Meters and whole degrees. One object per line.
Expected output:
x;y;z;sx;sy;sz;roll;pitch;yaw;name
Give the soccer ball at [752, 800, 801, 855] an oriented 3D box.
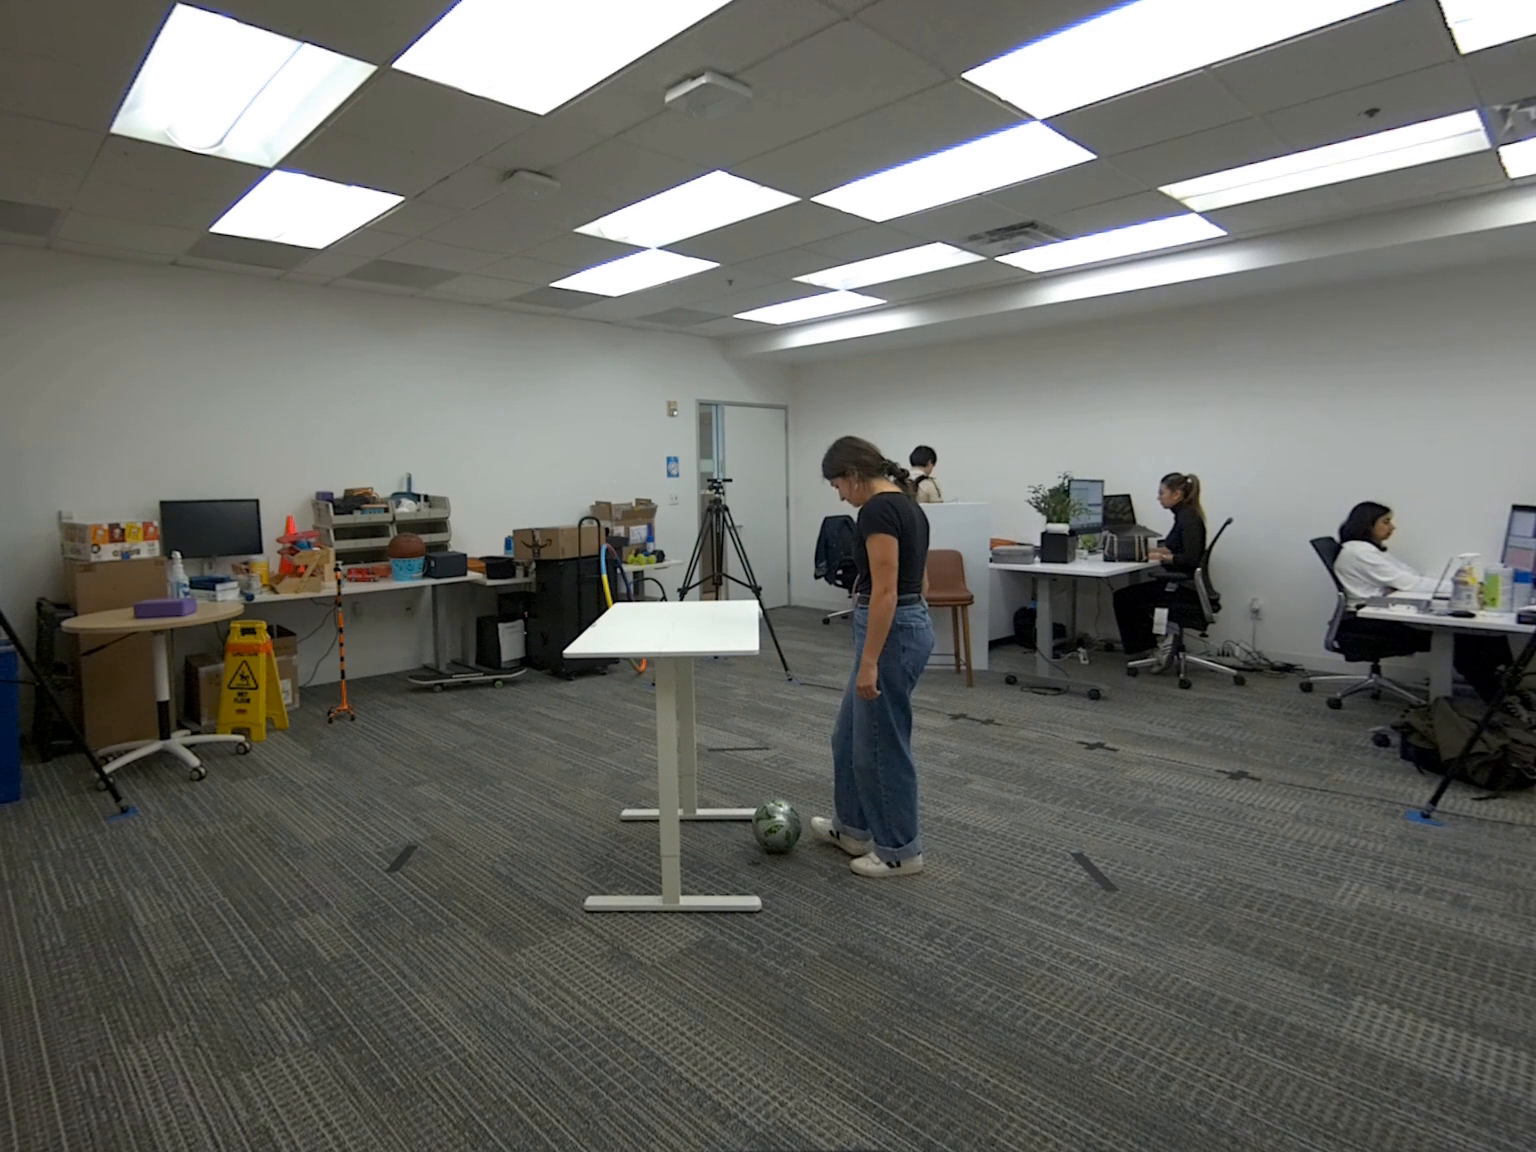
0.039;0.941;3.226;0.187;0.187;0.188;-1;5;-2;soccer ball
